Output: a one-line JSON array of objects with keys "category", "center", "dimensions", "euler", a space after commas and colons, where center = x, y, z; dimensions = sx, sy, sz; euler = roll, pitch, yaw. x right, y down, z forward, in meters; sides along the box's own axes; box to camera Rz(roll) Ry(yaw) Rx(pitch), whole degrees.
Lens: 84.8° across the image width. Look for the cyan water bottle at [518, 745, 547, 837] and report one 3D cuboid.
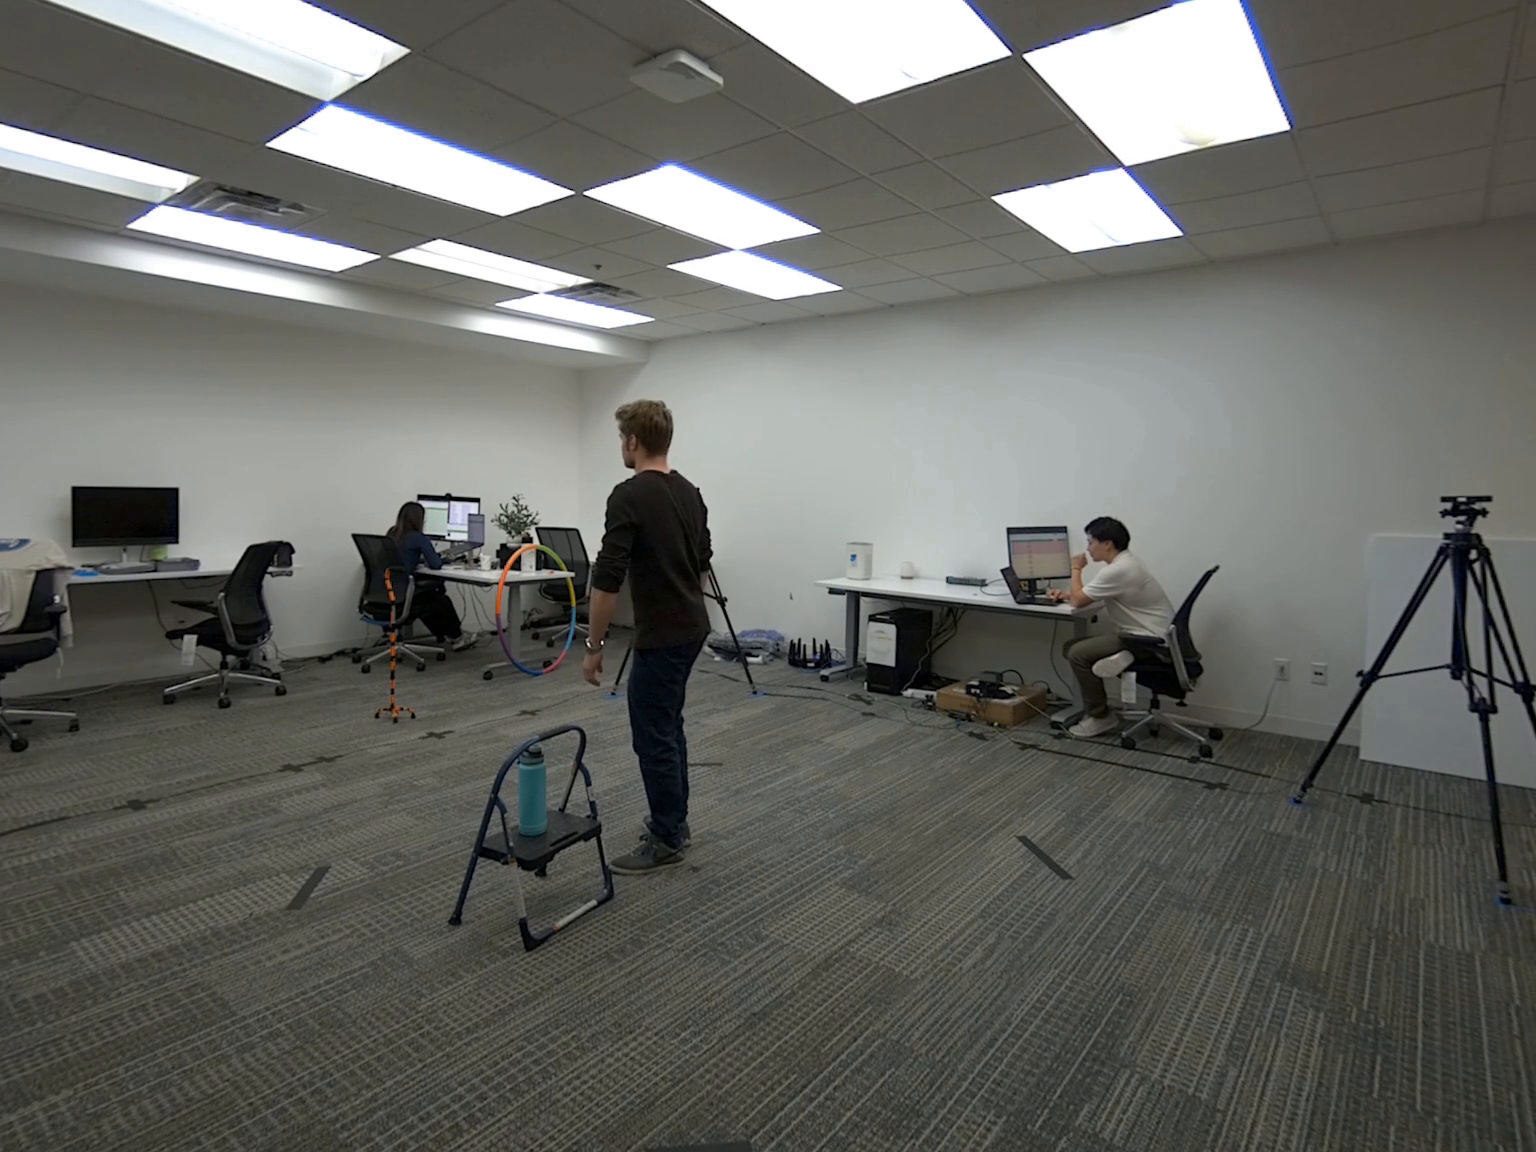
[{"category": "cyan water bottle", "center": [-0.779, 0.689, 2.768], "dimensions": [0.092, 0.283, 0.093], "euler": [0, 3, -2]}]
